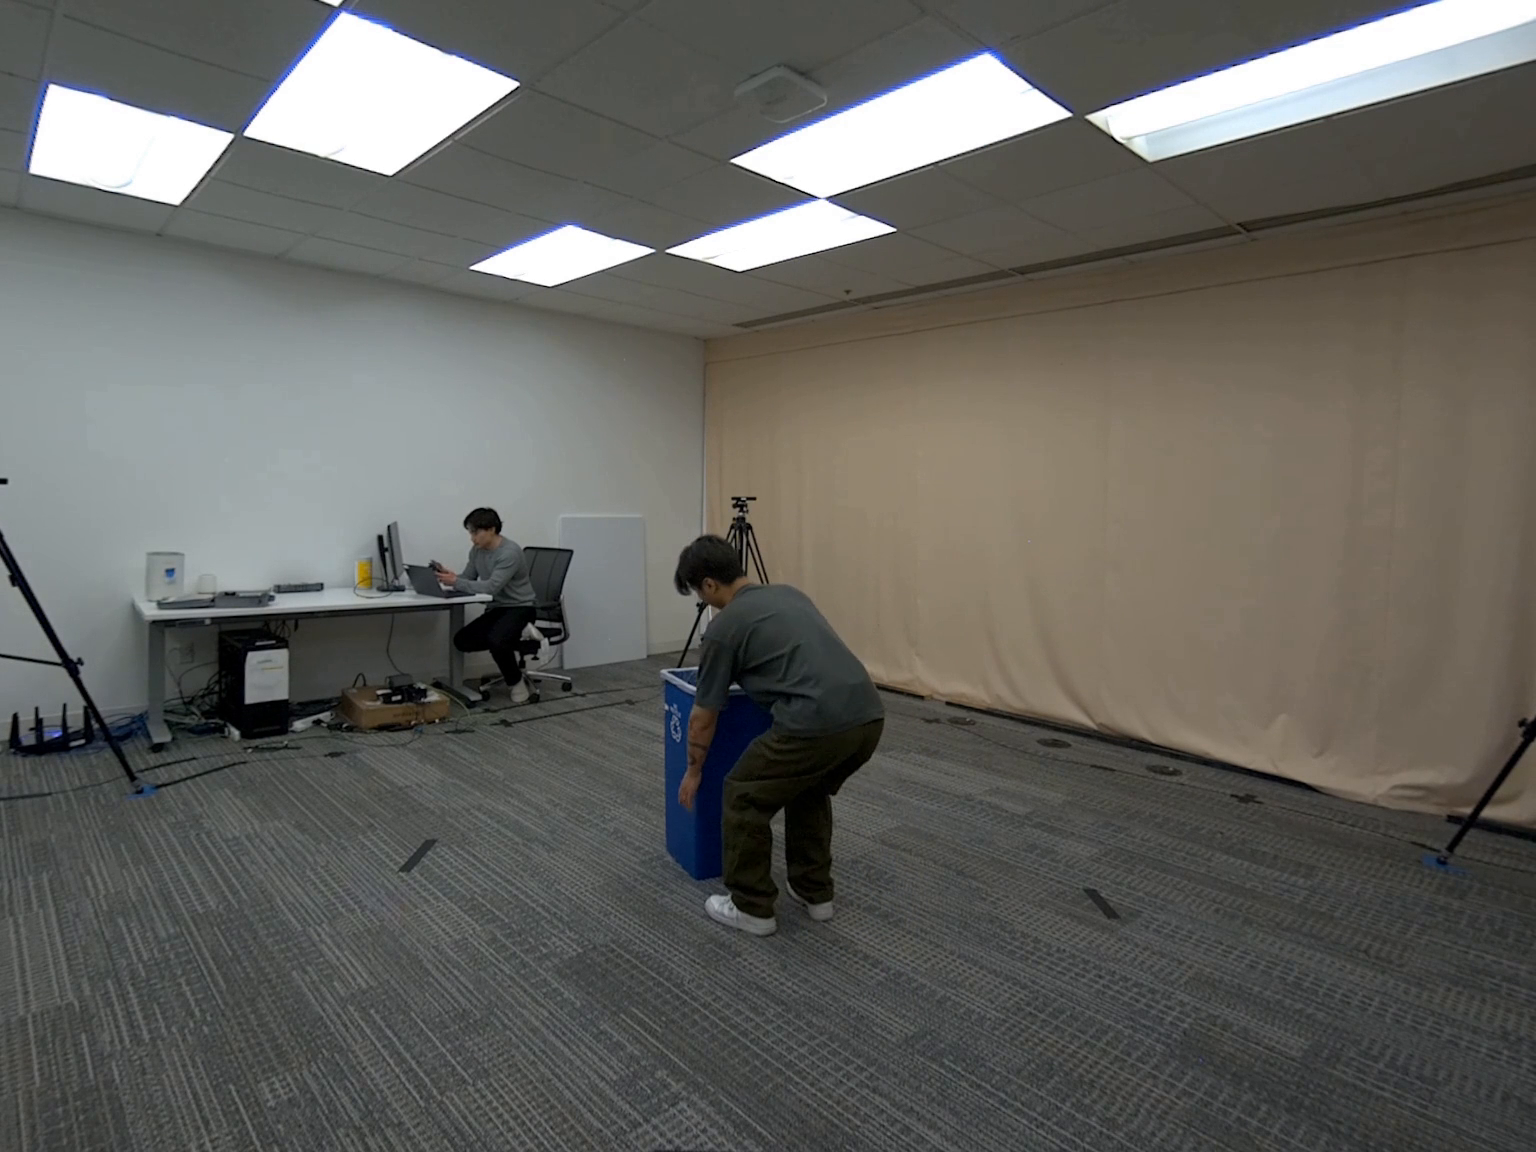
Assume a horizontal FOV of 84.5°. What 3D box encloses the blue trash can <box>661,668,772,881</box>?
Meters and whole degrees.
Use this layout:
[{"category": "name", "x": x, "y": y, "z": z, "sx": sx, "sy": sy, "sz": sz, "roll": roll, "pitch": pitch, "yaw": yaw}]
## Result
[{"category": "blue trash can", "x": -0.202, "y": 0.736, "z": 3.227, "sx": 0.367, "sy": 0.712, "sz": 0.386, "roll": 0, "pitch": 4, "yaw": -29}]
